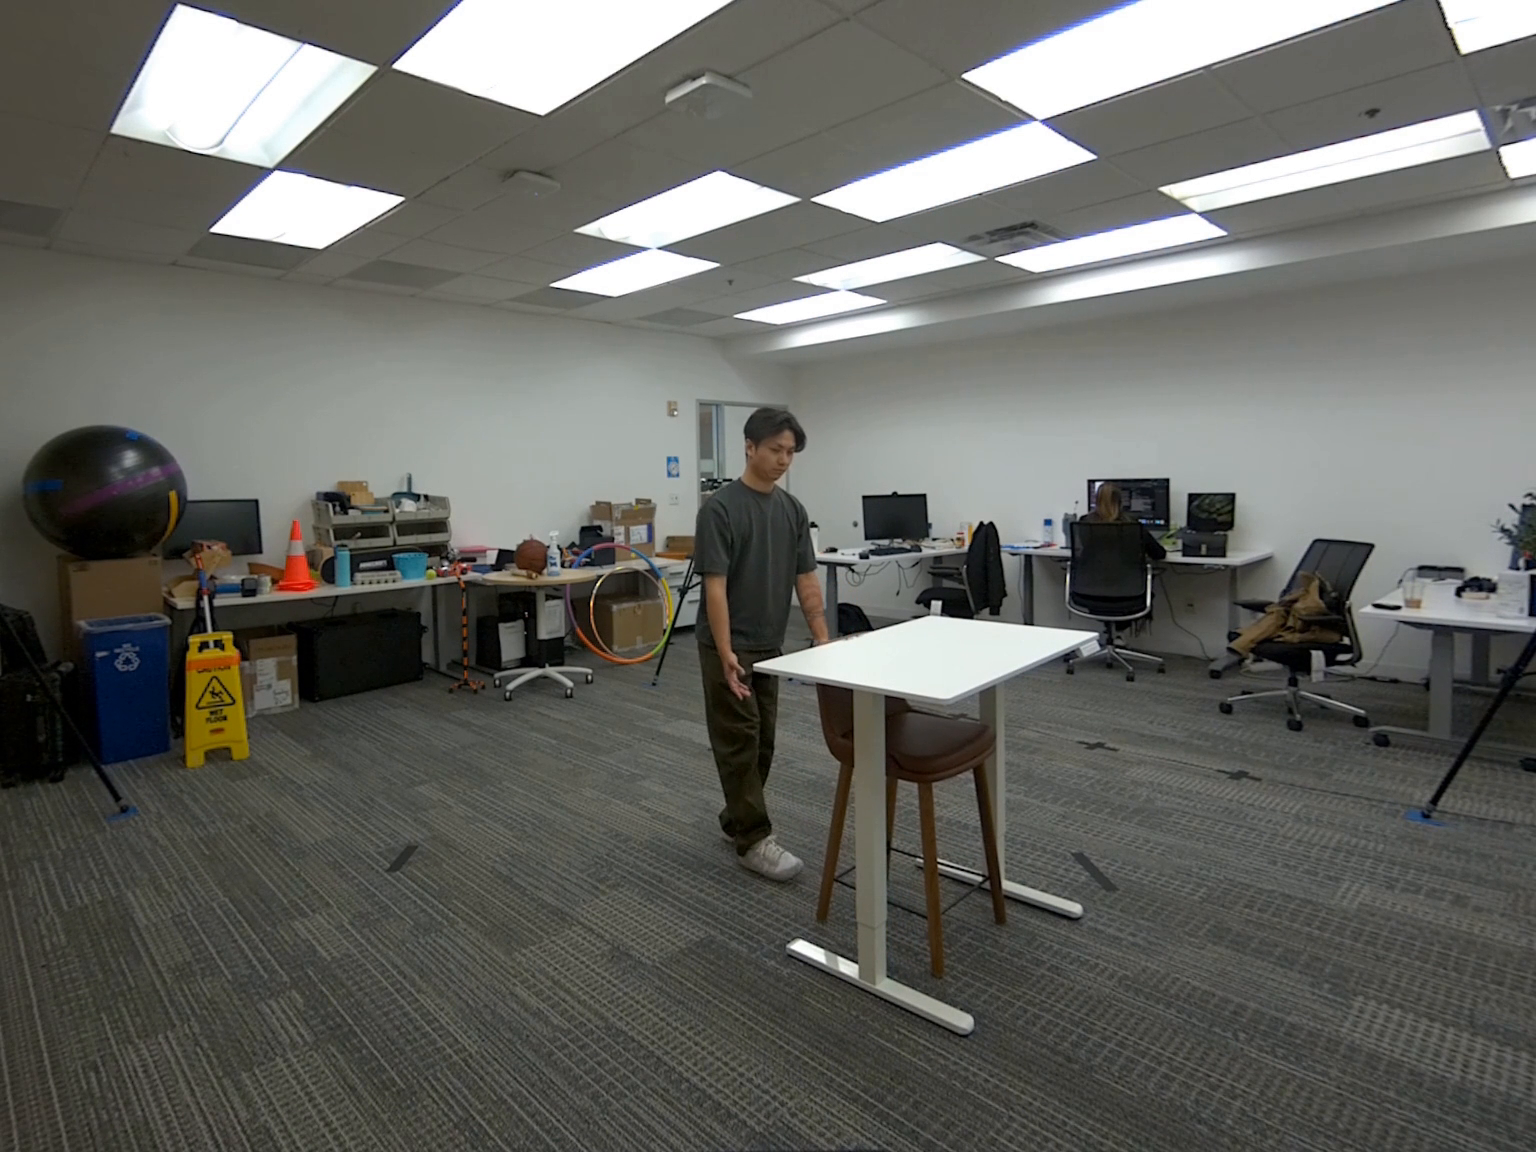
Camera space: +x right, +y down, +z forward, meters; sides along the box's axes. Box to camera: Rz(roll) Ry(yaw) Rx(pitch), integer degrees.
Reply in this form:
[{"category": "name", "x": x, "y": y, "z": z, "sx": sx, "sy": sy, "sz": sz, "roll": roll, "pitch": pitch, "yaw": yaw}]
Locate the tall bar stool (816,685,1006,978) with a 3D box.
[{"category": "tall bar stool", "x": 0.431, "y": 0.649, "z": 2.656, "sx": 0.481, "sy": 0.888, "sz": 0.444, "roll": 0, "pitch": 3, "yaw": 43}]
